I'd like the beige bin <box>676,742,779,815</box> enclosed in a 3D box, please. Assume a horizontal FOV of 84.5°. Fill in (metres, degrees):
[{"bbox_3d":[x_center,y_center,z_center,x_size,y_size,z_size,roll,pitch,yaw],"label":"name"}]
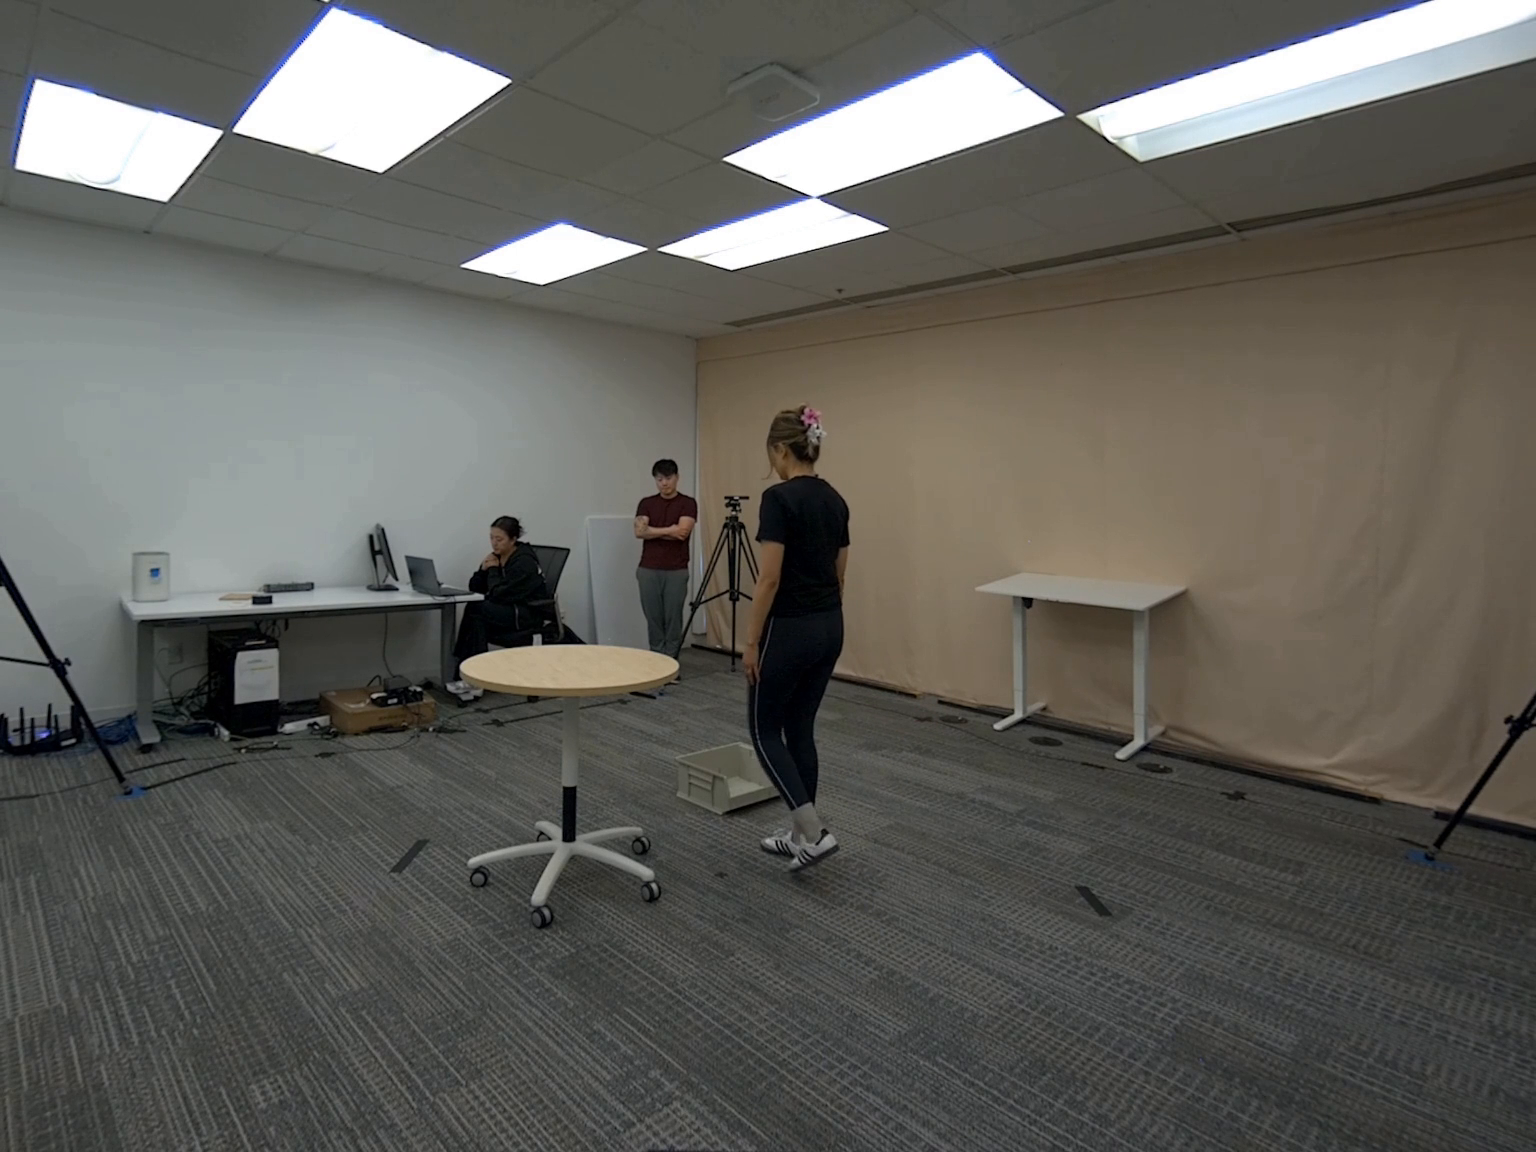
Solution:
[{"bbox_3d":[-0.166,0.943,3.932,0.413,0.188,0.387,-5,7,-44],"label":"beige bin"}]
